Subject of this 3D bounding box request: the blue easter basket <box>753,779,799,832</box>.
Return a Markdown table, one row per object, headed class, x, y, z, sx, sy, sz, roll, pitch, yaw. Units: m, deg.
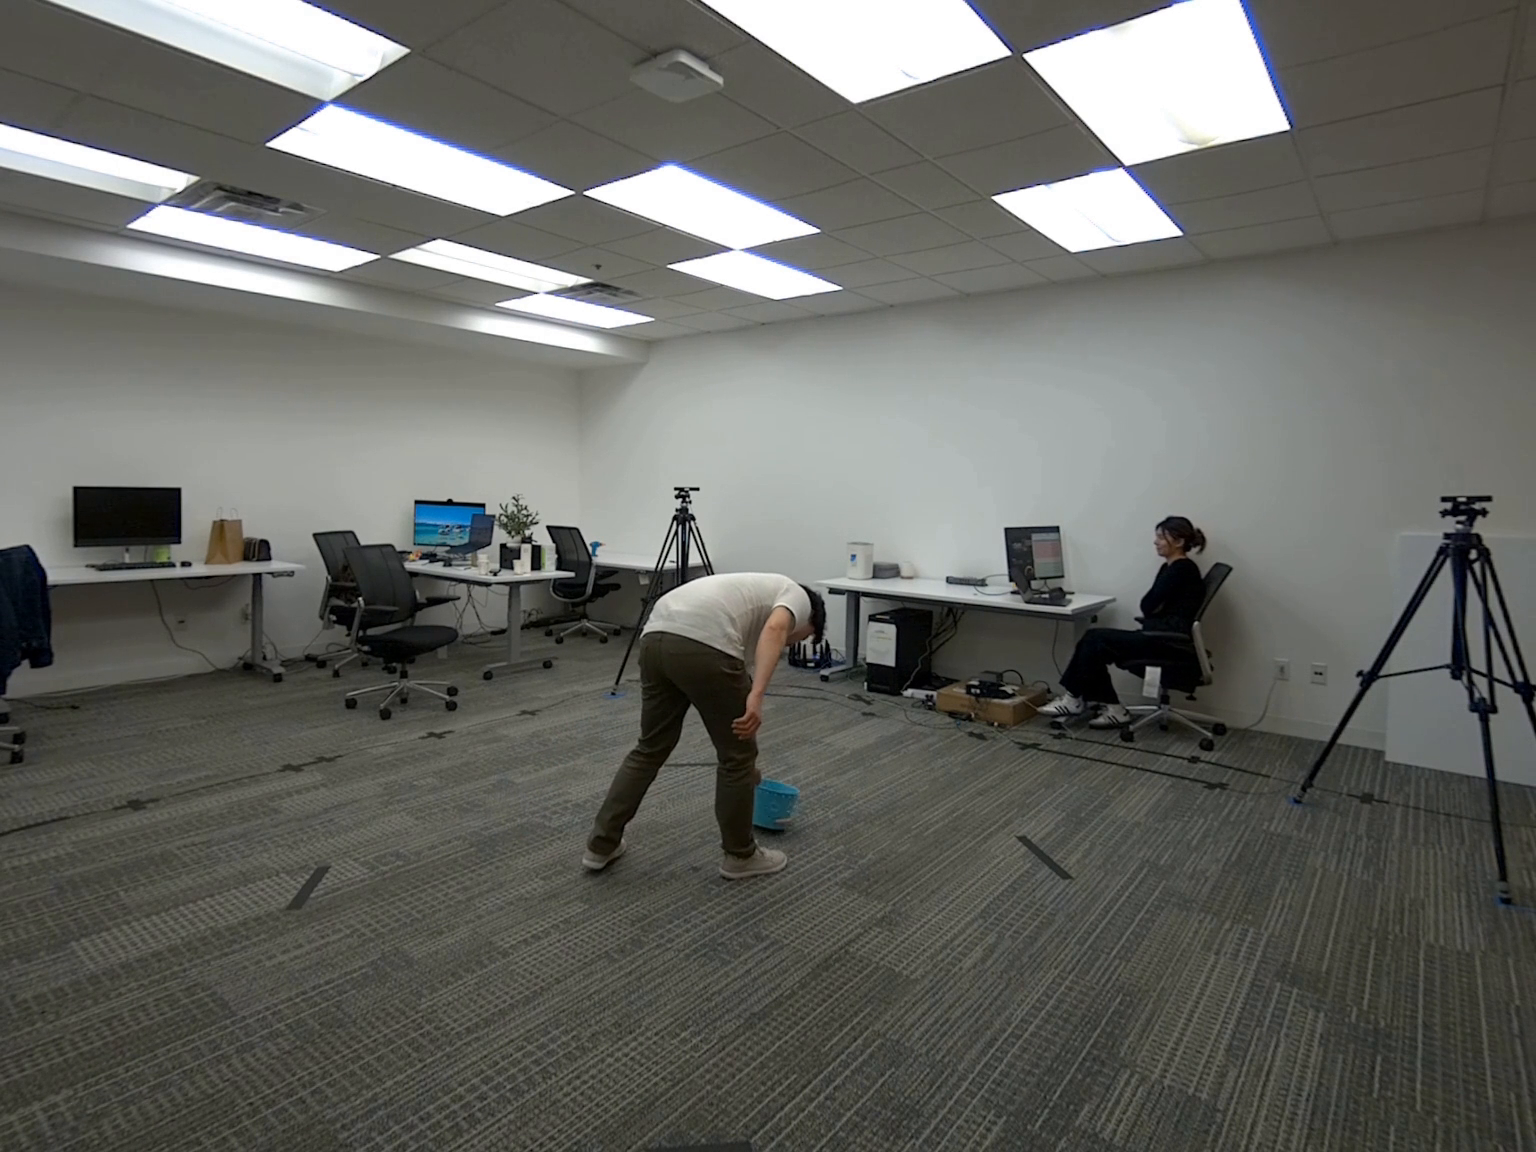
| class | x | y | z | sx | sy | sz | roll | pitch | yaw |
| --- | --- | --- | --- | --- | --- | --- | --- | --- | --- |
| blue easter basket | -0.033 | 0.935 | 3.512 | 0.243 | 0.156 | 0.243 | 10 | -4 | -1 |
